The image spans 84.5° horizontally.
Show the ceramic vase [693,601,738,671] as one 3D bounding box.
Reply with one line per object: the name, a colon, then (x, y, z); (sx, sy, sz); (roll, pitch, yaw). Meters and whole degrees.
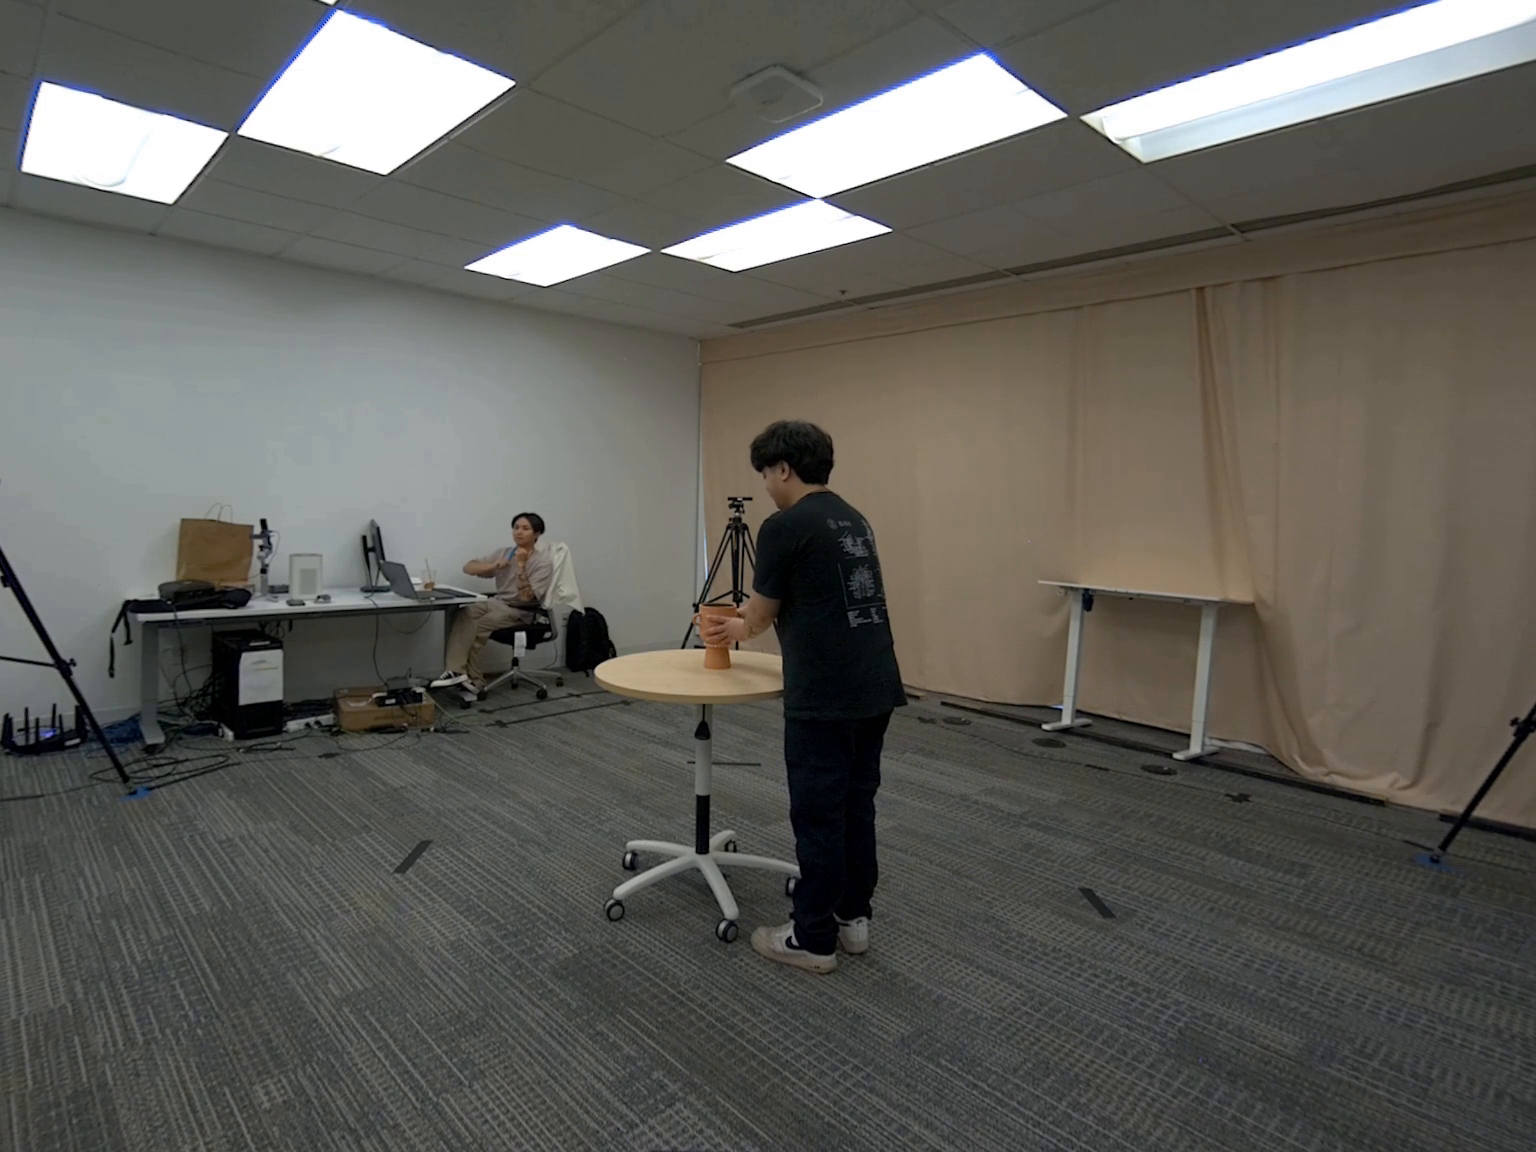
ceramic vase: (-0.186, 0.216, 2.984); (0.132, 0.219, 0.162); (-2, 6, -31)
